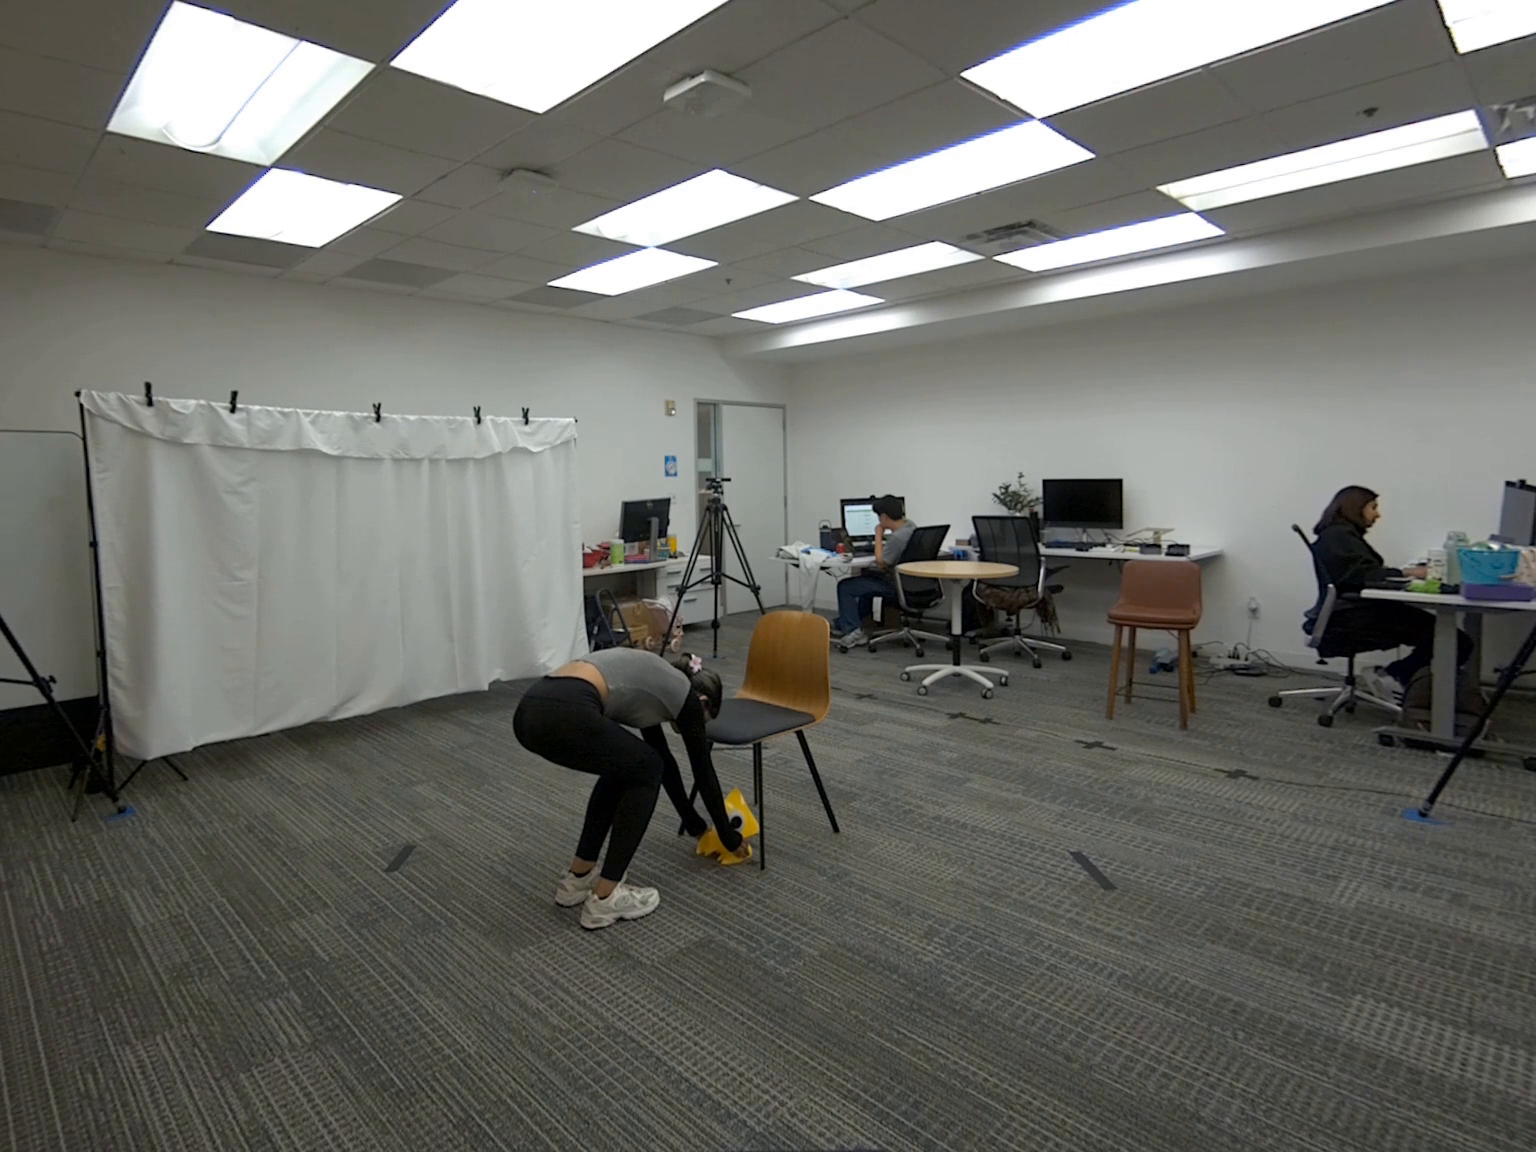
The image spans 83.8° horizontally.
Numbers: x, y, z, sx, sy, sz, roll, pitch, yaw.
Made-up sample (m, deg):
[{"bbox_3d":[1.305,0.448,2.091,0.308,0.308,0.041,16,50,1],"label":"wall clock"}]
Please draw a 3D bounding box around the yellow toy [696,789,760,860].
[{"bbox_3d":[-0.155,0.926,3.194,0.211,0.230,0.188,4,6,43],"label":"yellow toy"}]
